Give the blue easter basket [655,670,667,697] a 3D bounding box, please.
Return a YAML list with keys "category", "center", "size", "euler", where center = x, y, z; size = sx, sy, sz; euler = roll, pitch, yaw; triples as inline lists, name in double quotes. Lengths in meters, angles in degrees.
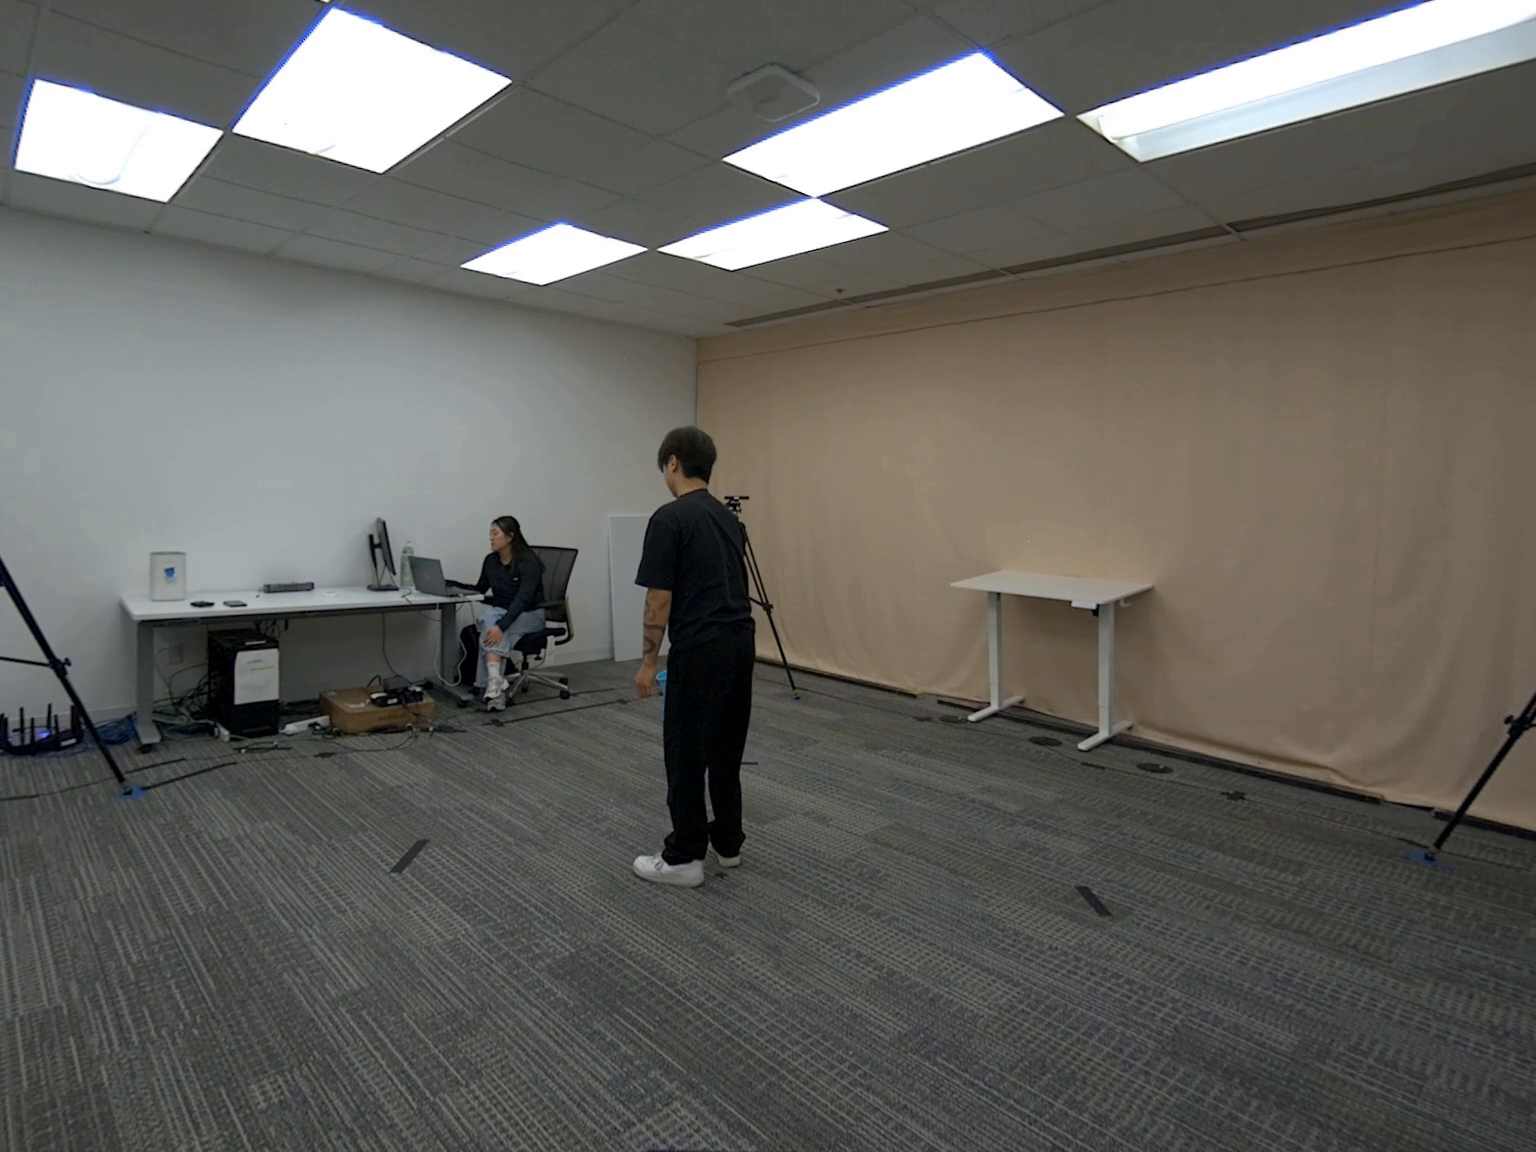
- category: "blue easter basket"
  center: [-0.322, 0.468, 3.445]
  size: [0.243, 0.155, 0.245]
  euler: [-10, 6, 0]
